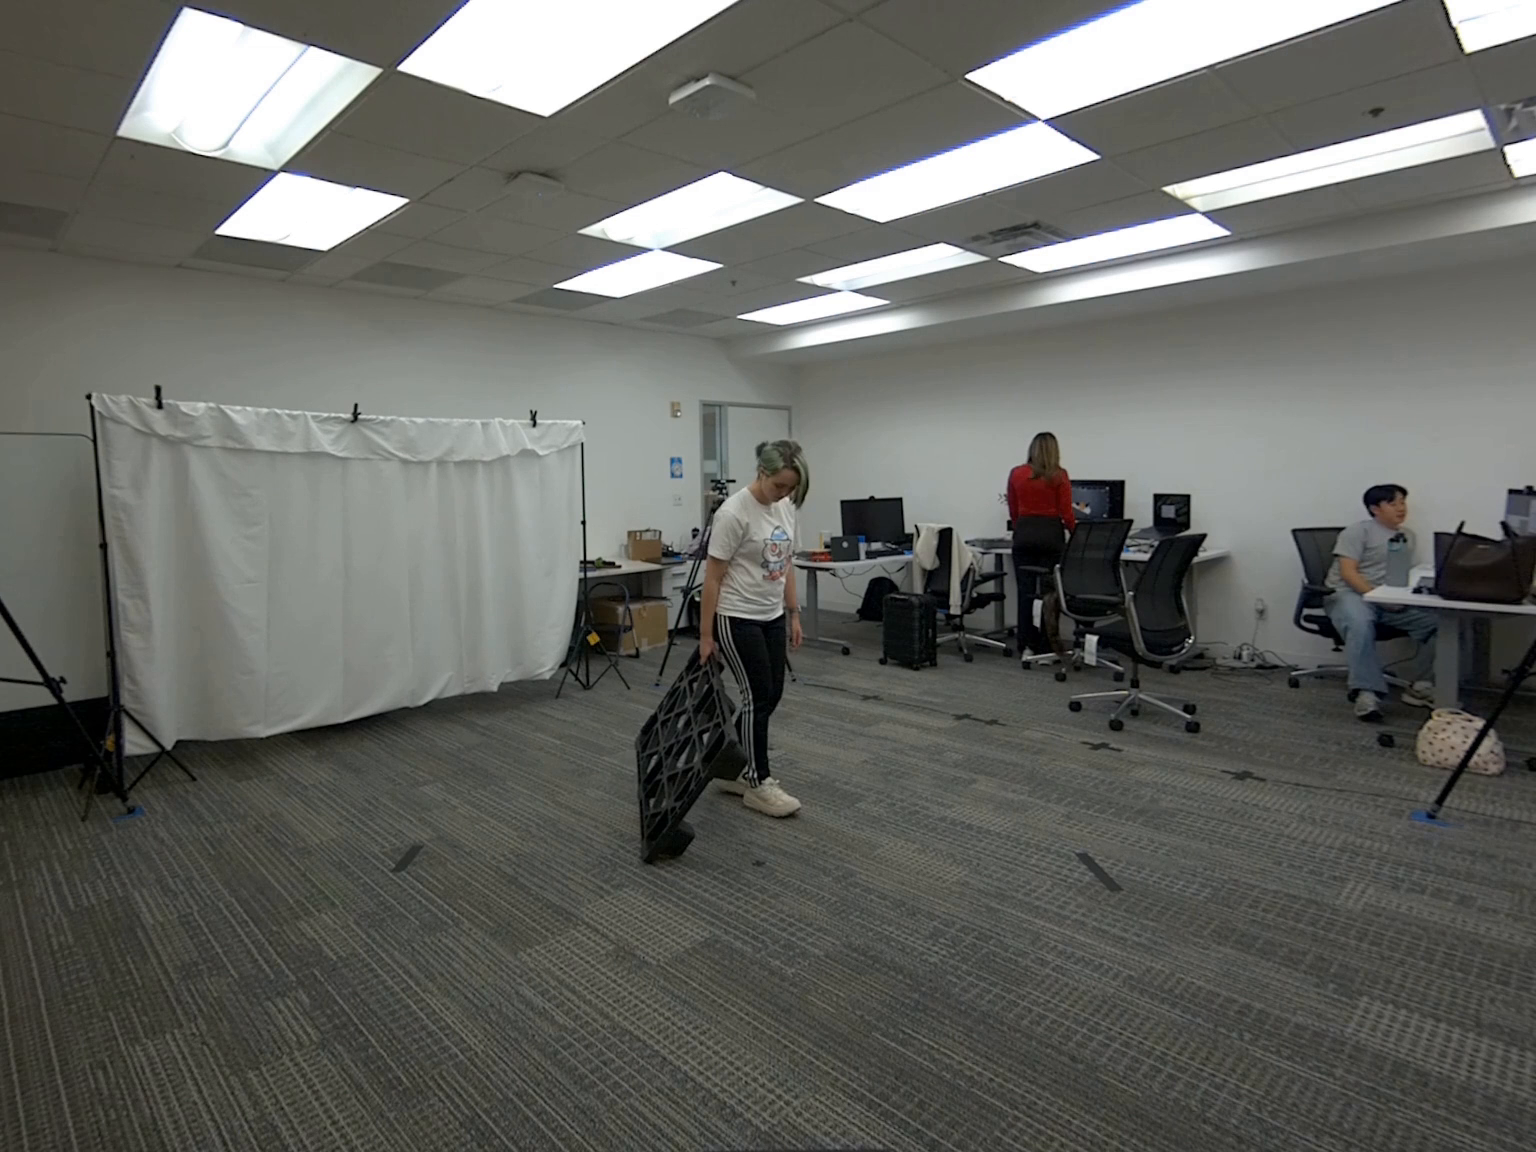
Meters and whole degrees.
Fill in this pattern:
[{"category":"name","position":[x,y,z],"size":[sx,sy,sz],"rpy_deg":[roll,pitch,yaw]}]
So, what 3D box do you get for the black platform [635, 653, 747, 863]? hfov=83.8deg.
[{"category":"black platform","position":[-0.316,0.682,3.424],"size":[0.140,0.603,0.826],"rpy_deg":[27,15,-19]}]
